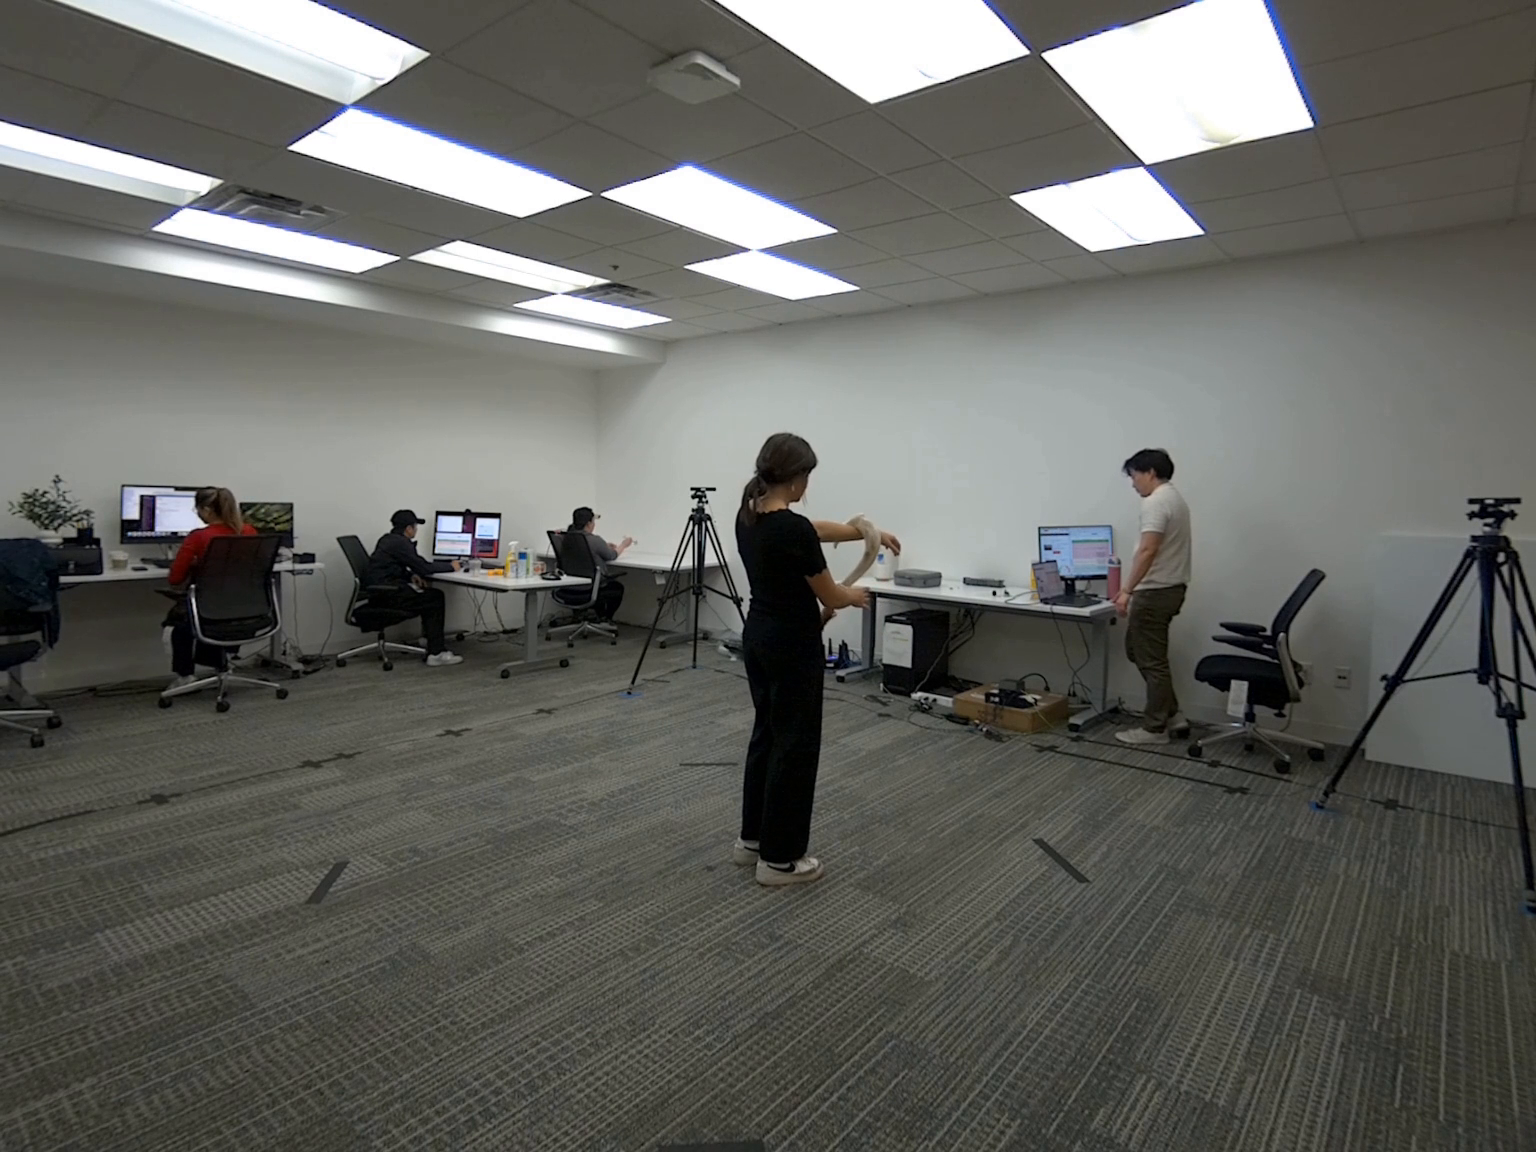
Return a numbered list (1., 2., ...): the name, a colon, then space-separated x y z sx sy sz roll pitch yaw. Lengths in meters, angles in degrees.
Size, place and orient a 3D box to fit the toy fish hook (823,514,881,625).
1. toy fish hook: 0.276 -0.012 3.335 0.047 0.502 0.234 11 30 -35
